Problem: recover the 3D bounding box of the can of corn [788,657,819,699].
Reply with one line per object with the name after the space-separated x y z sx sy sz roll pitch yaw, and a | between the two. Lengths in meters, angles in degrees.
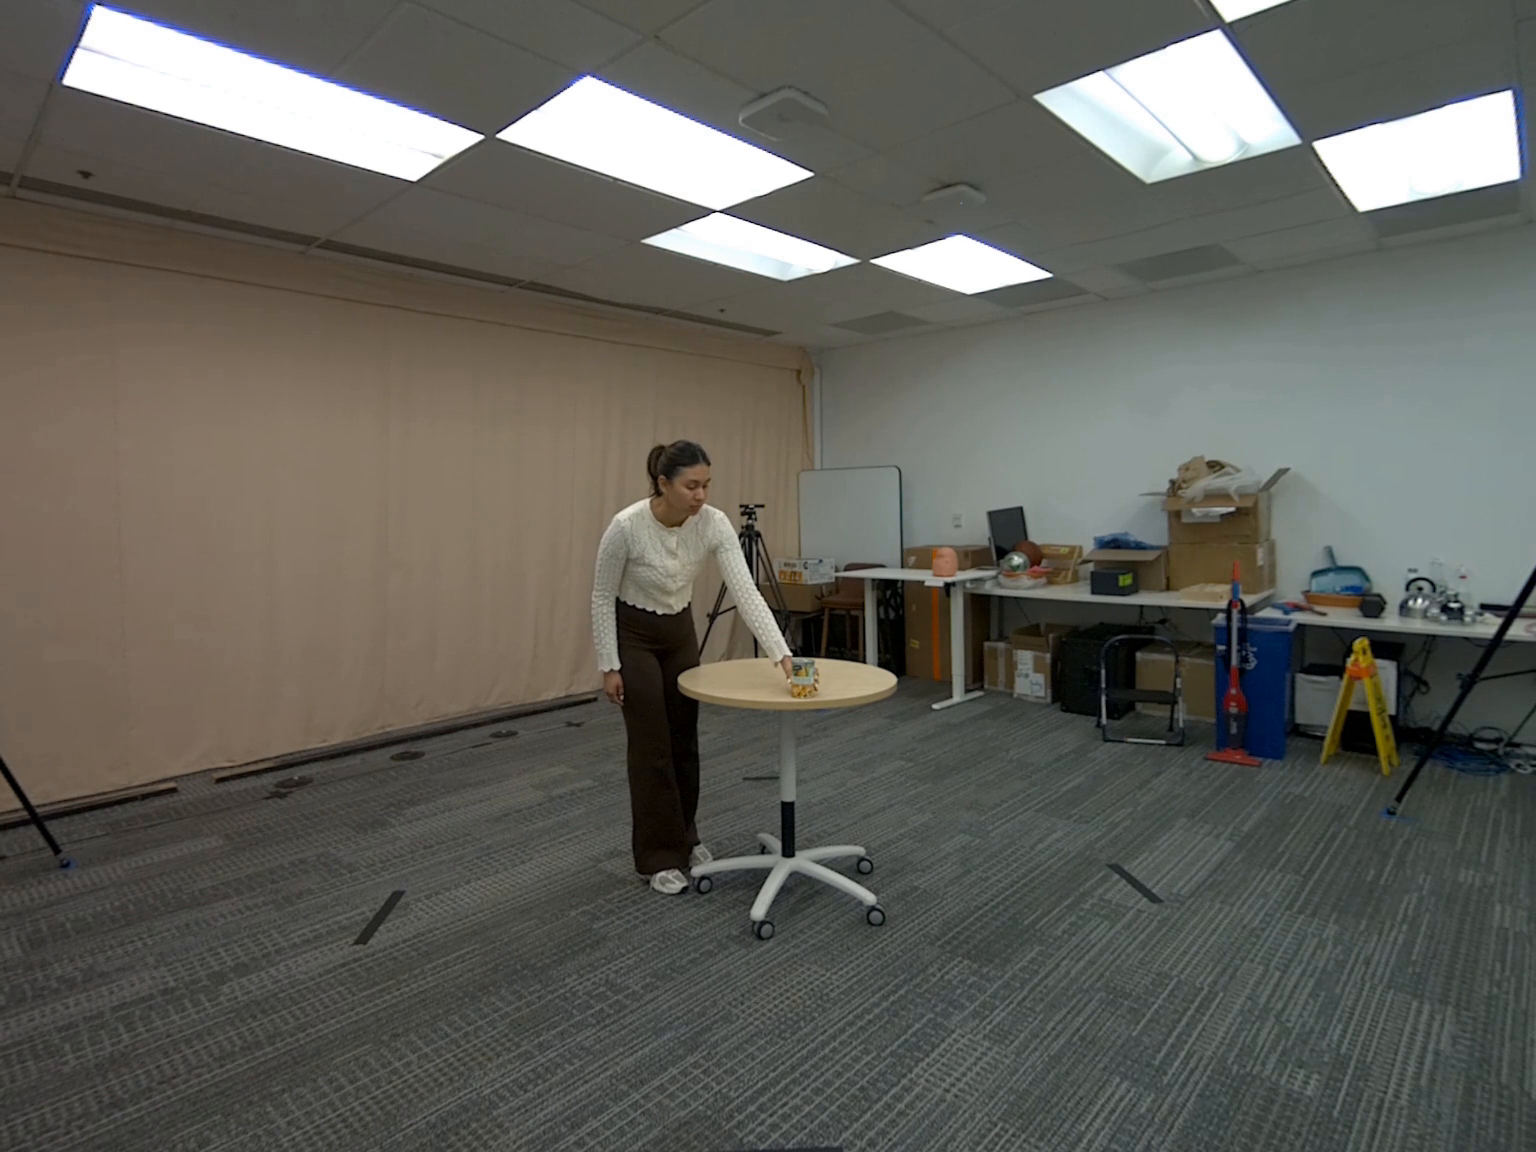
0.107 0.322 2.649 0.074 0.111 0.074 2 3 -2 | can of corn
